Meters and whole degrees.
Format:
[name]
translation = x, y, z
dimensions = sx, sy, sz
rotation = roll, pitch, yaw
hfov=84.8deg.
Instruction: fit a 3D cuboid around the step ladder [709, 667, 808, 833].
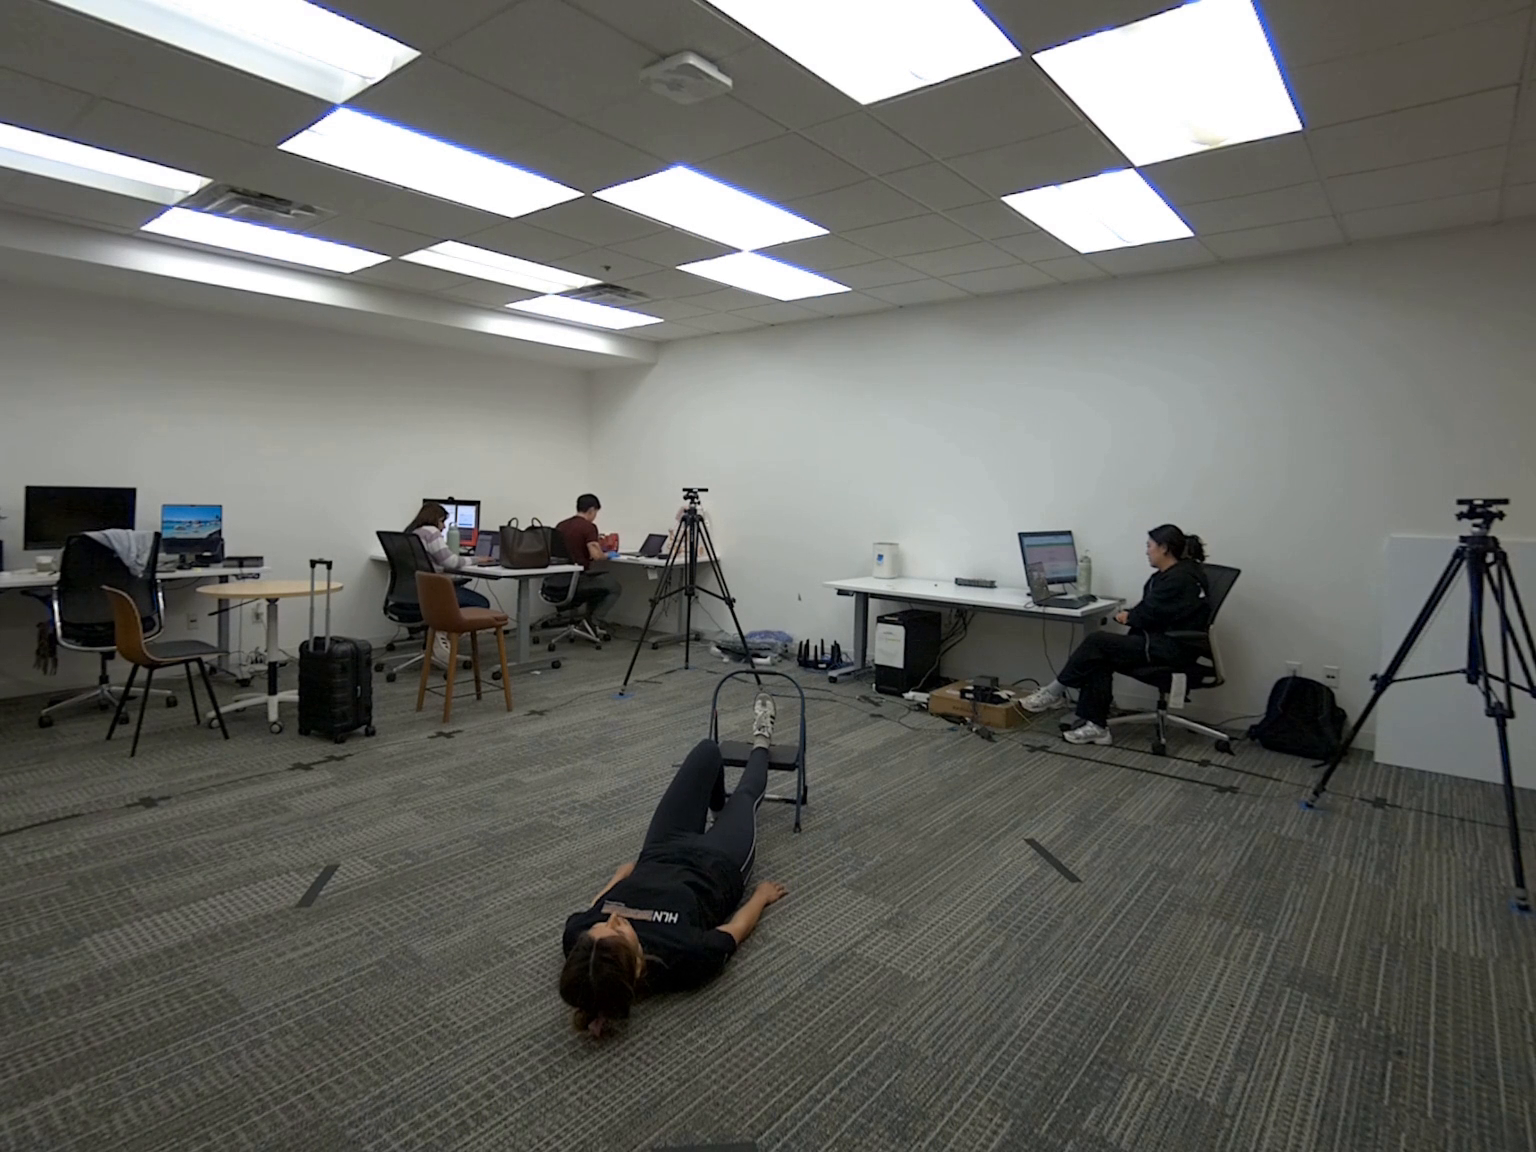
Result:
[step ladder]
translation = -0.051, 0.718, 3.663
dimensions = 0.436, 0.604, 0.346
rotation = 2, 3, 10
